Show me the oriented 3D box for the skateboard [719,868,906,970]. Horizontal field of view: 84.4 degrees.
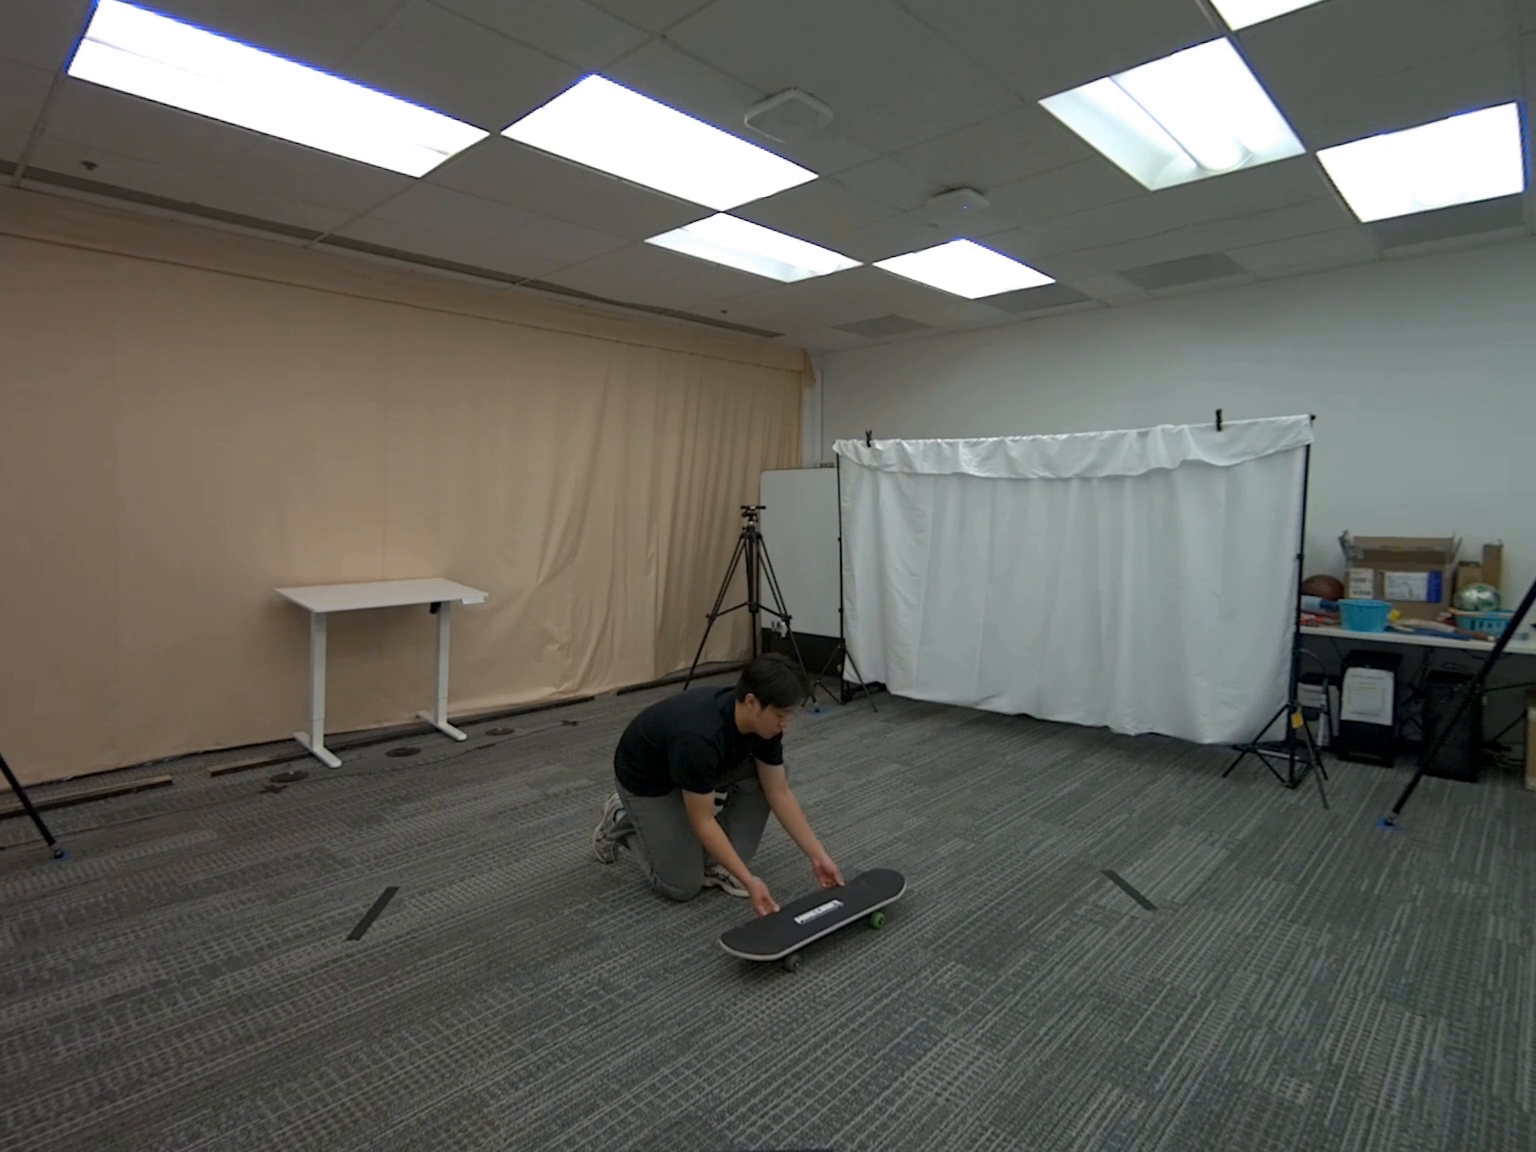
[{"bbox_3d":[0.164,1.107,2.706,0.762,0.110,0.200,-4,7,-42],"label":"skateboard"}]
